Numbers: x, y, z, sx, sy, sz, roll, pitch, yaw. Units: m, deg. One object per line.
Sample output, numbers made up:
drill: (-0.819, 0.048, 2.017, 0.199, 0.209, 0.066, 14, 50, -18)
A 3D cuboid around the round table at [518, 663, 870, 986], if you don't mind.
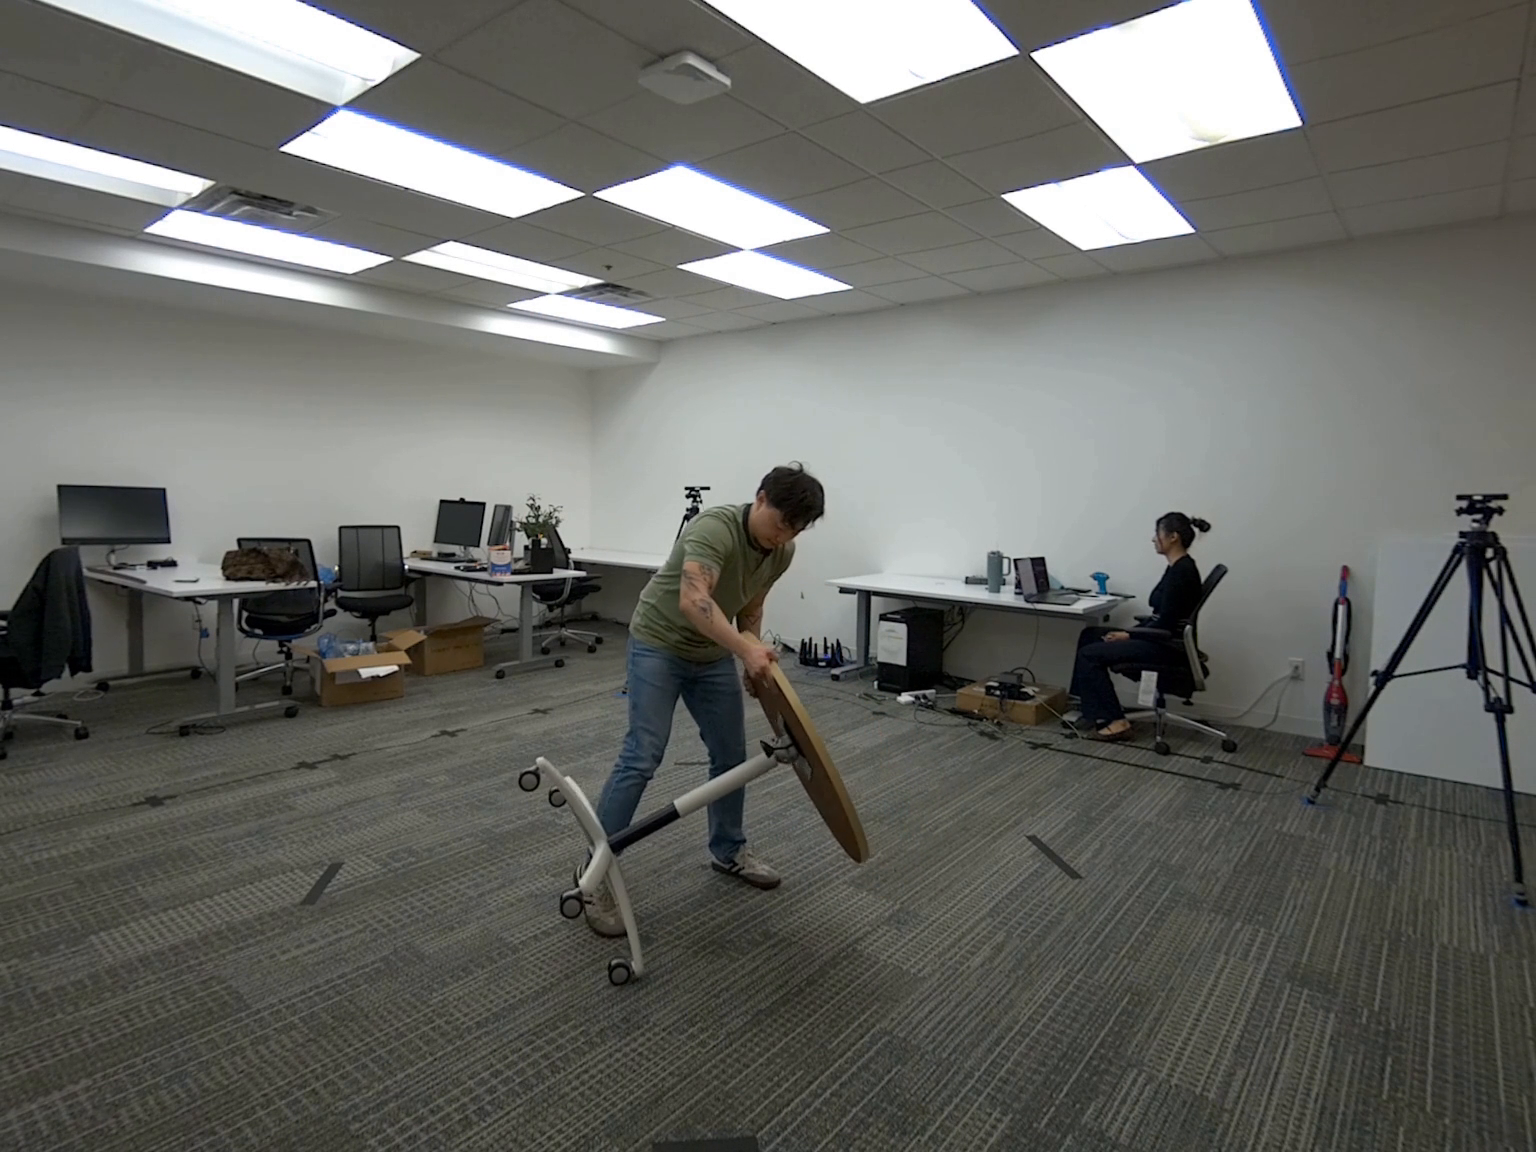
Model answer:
round table: (-0.250, 0.691, 2.566, 0.790, 0.756, 0.776, -27, 9, -9)
